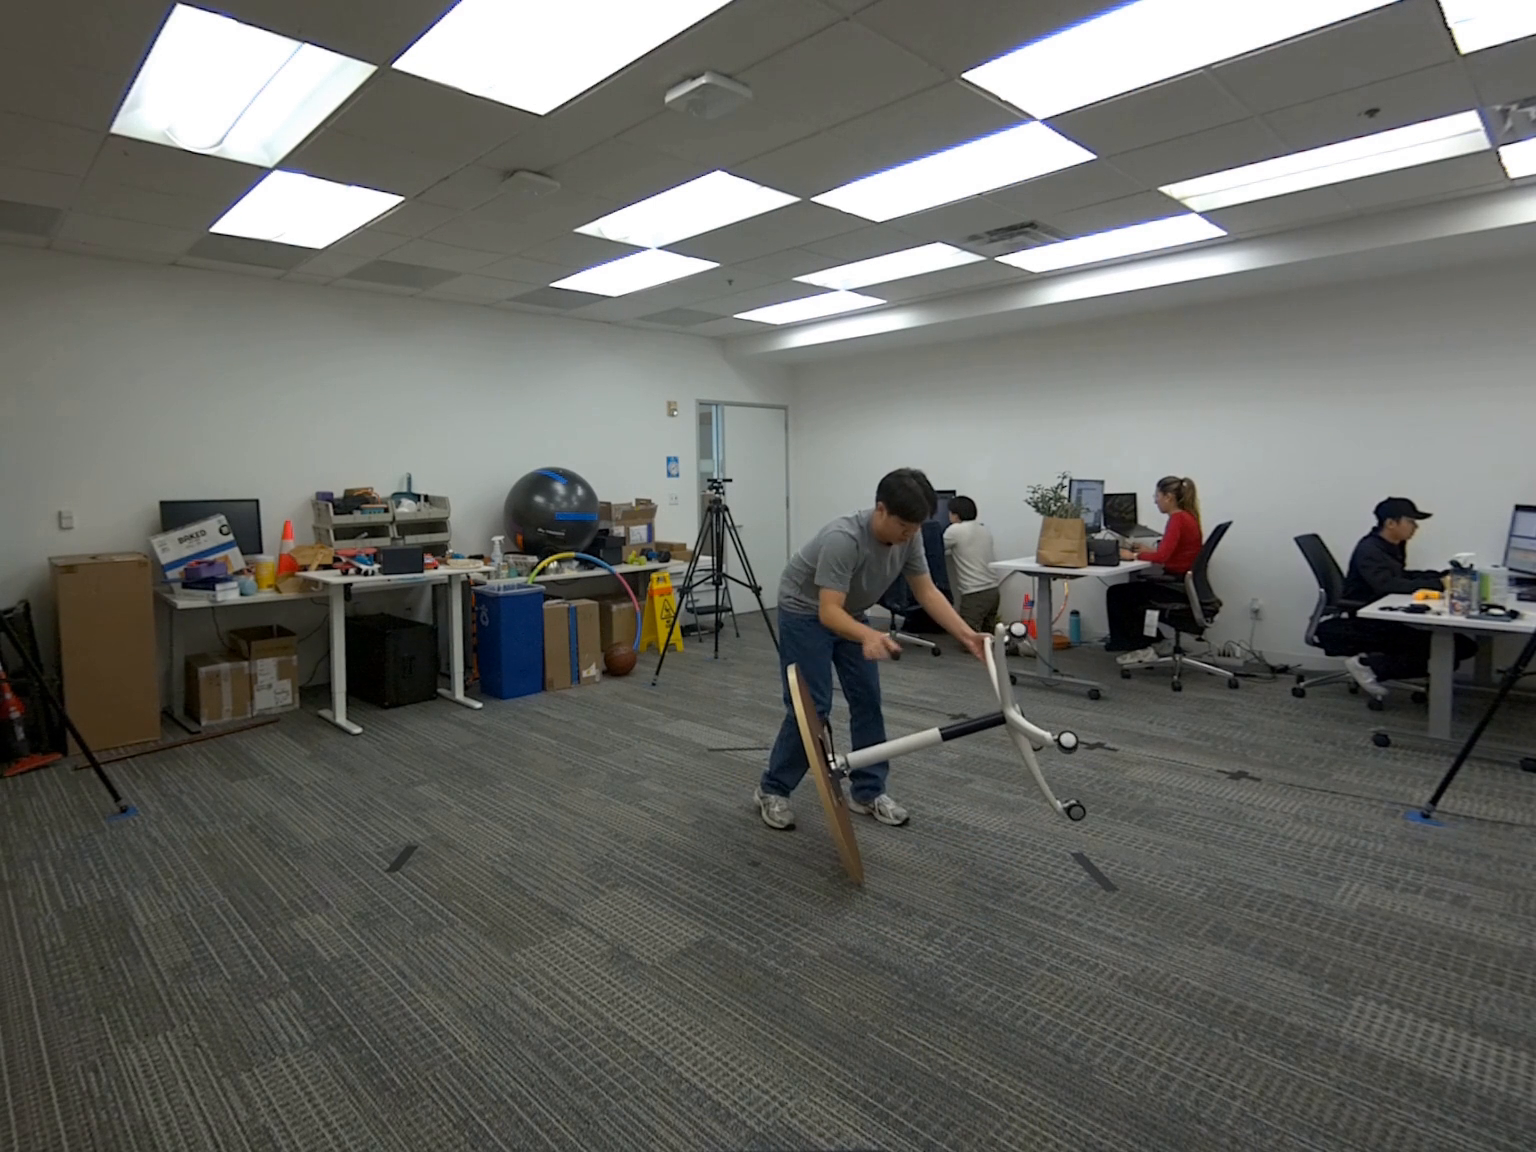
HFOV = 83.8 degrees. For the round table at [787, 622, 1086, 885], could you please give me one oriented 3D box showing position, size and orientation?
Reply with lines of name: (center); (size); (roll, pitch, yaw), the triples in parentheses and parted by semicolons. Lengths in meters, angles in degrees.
round table: (0.570, 0.571, 2.965); (0.797, 0.762, 0.763); (-18, 3, 6)
